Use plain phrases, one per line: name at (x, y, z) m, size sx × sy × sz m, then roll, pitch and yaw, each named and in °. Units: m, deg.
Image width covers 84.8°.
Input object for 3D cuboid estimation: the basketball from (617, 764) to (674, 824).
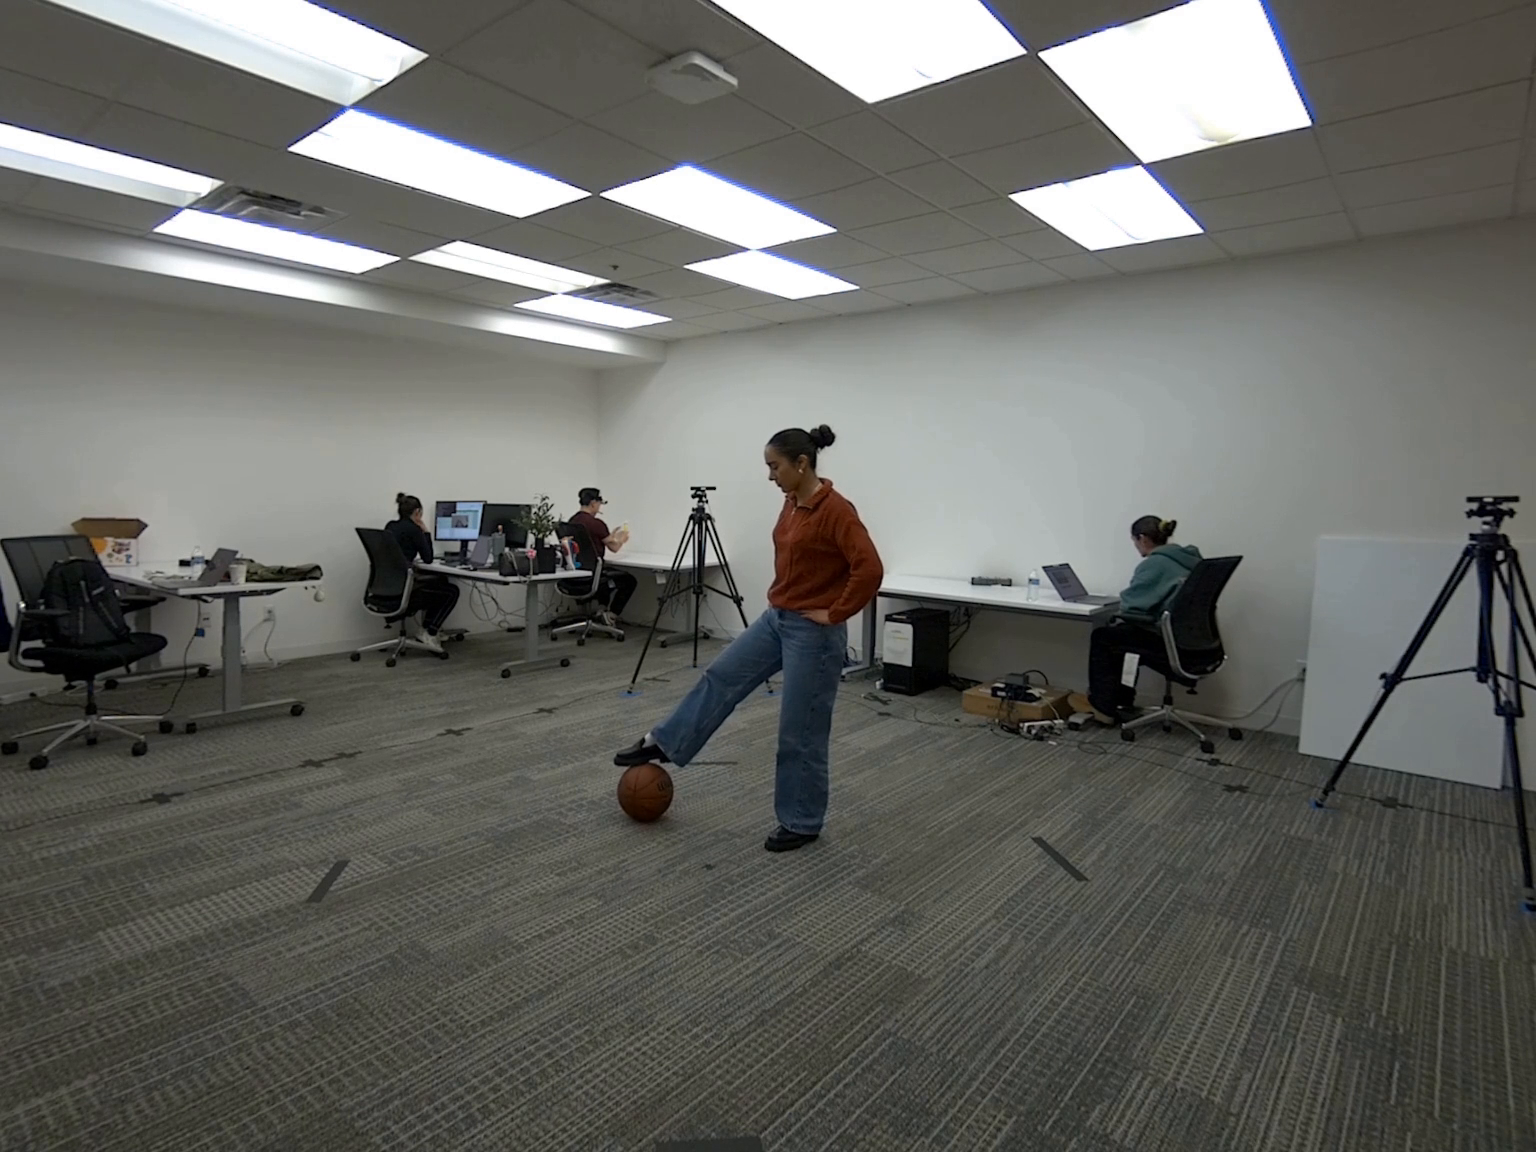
basketball at (-0.524, 0.899, 3.564) m, size 0.235 × 0.235 × 0.237 m, roll 1°, pitch 4°, yaw -2°
